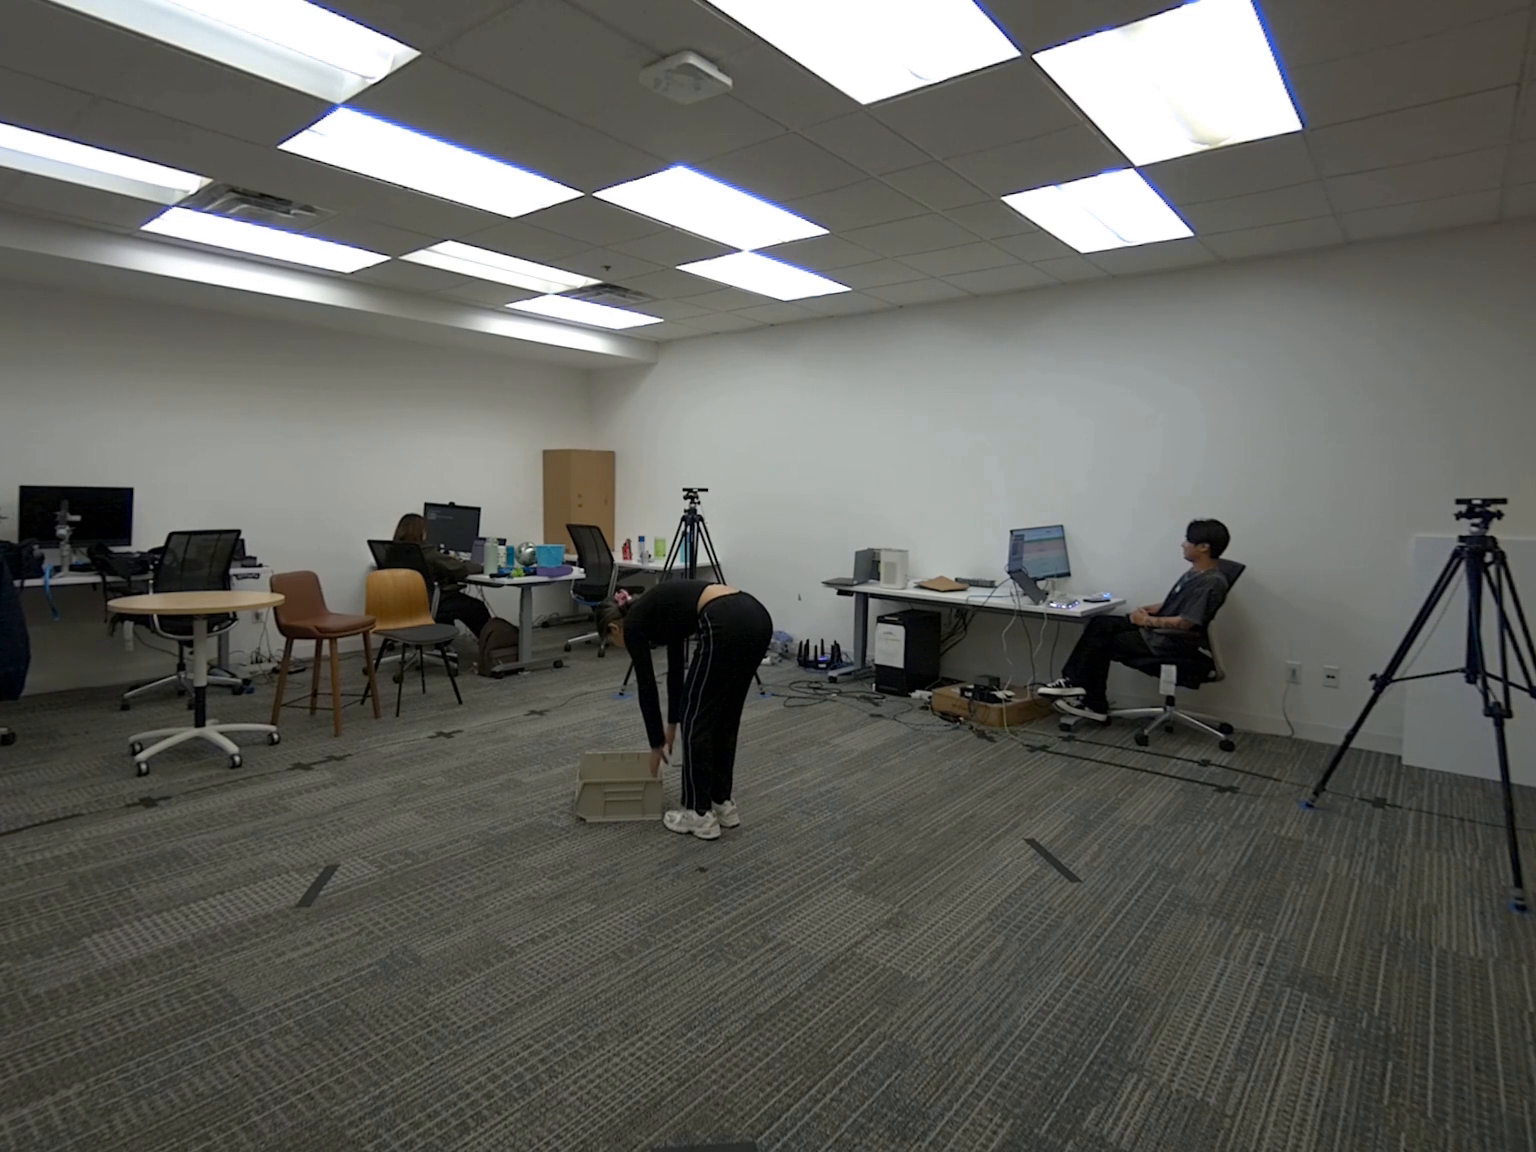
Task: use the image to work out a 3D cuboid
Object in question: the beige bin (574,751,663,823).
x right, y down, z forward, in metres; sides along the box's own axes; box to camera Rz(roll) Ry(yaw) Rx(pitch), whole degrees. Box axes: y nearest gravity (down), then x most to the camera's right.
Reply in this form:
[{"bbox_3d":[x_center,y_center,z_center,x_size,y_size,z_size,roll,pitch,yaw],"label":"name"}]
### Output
[{"bbox_3d":[-0.666,0.913,3.744,0.373,0.188,0.428,1,3,-11],"label":"beige bin"}]
